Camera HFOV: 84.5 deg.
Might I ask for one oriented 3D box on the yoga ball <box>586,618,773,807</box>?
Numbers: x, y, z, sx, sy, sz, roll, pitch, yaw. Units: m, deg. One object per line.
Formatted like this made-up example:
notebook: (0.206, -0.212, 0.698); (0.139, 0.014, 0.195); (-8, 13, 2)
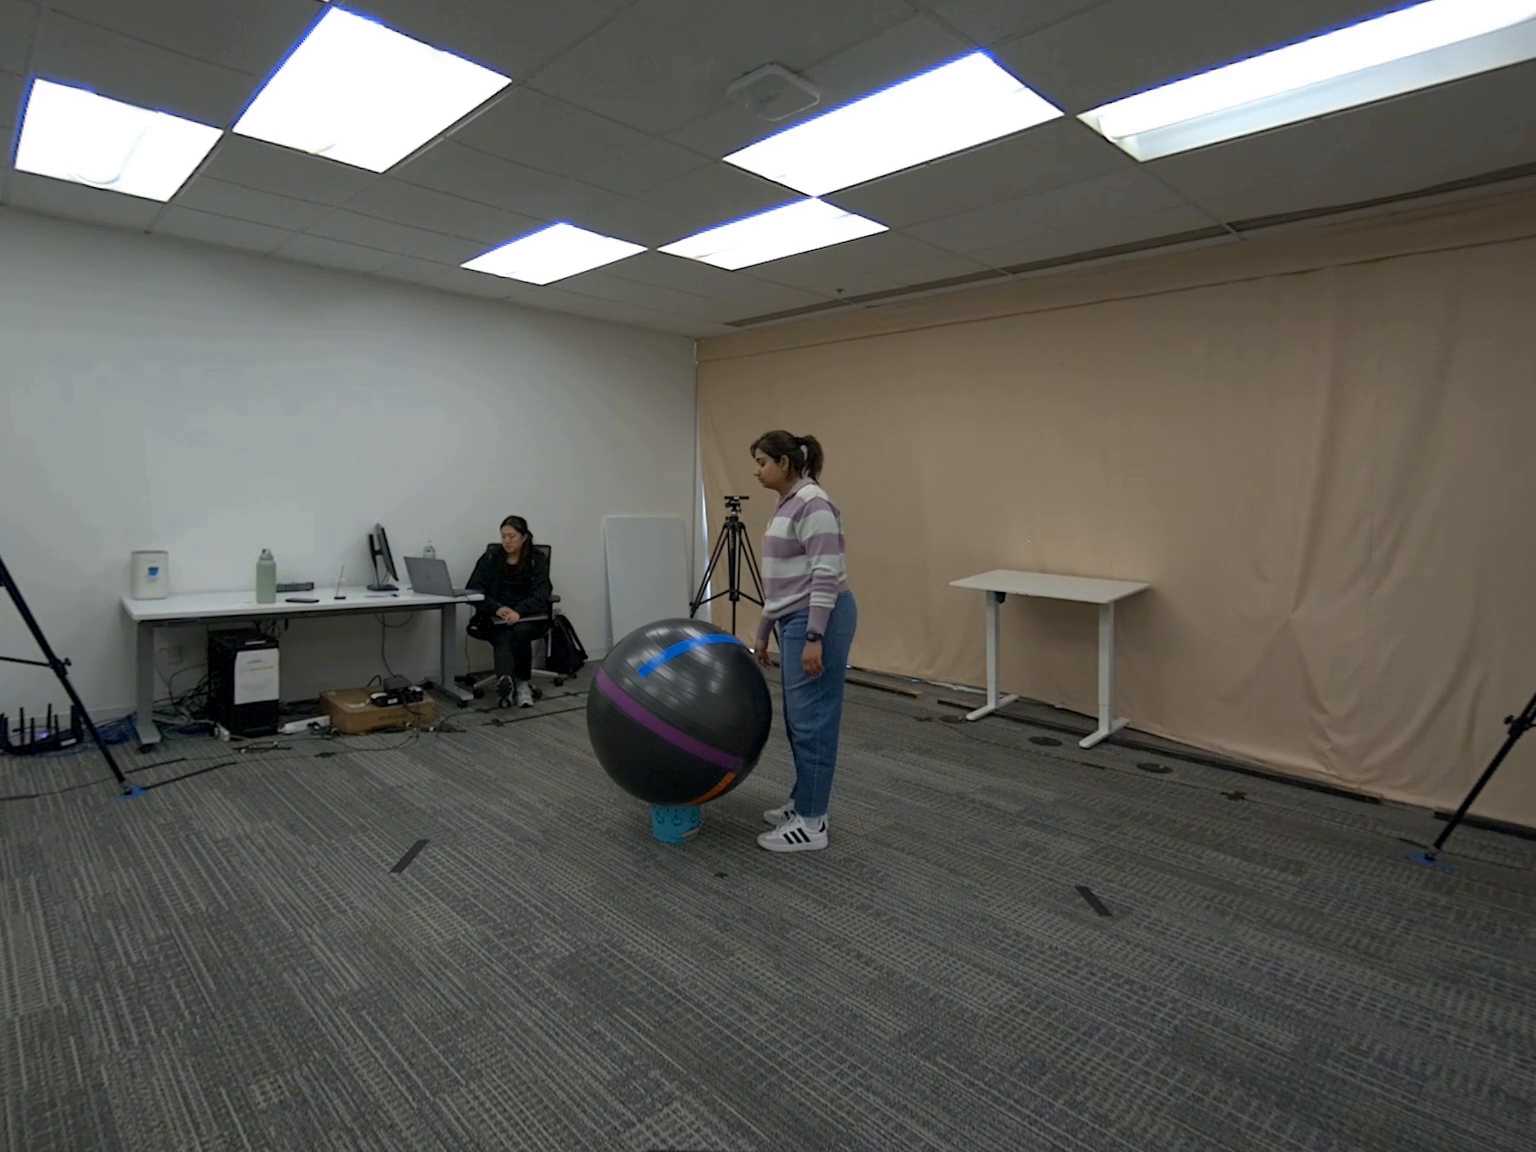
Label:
yoga ball: (-0.366, 0.558, 3.474); (0.757, 0.756, 0.761); (1, 4, -1)
